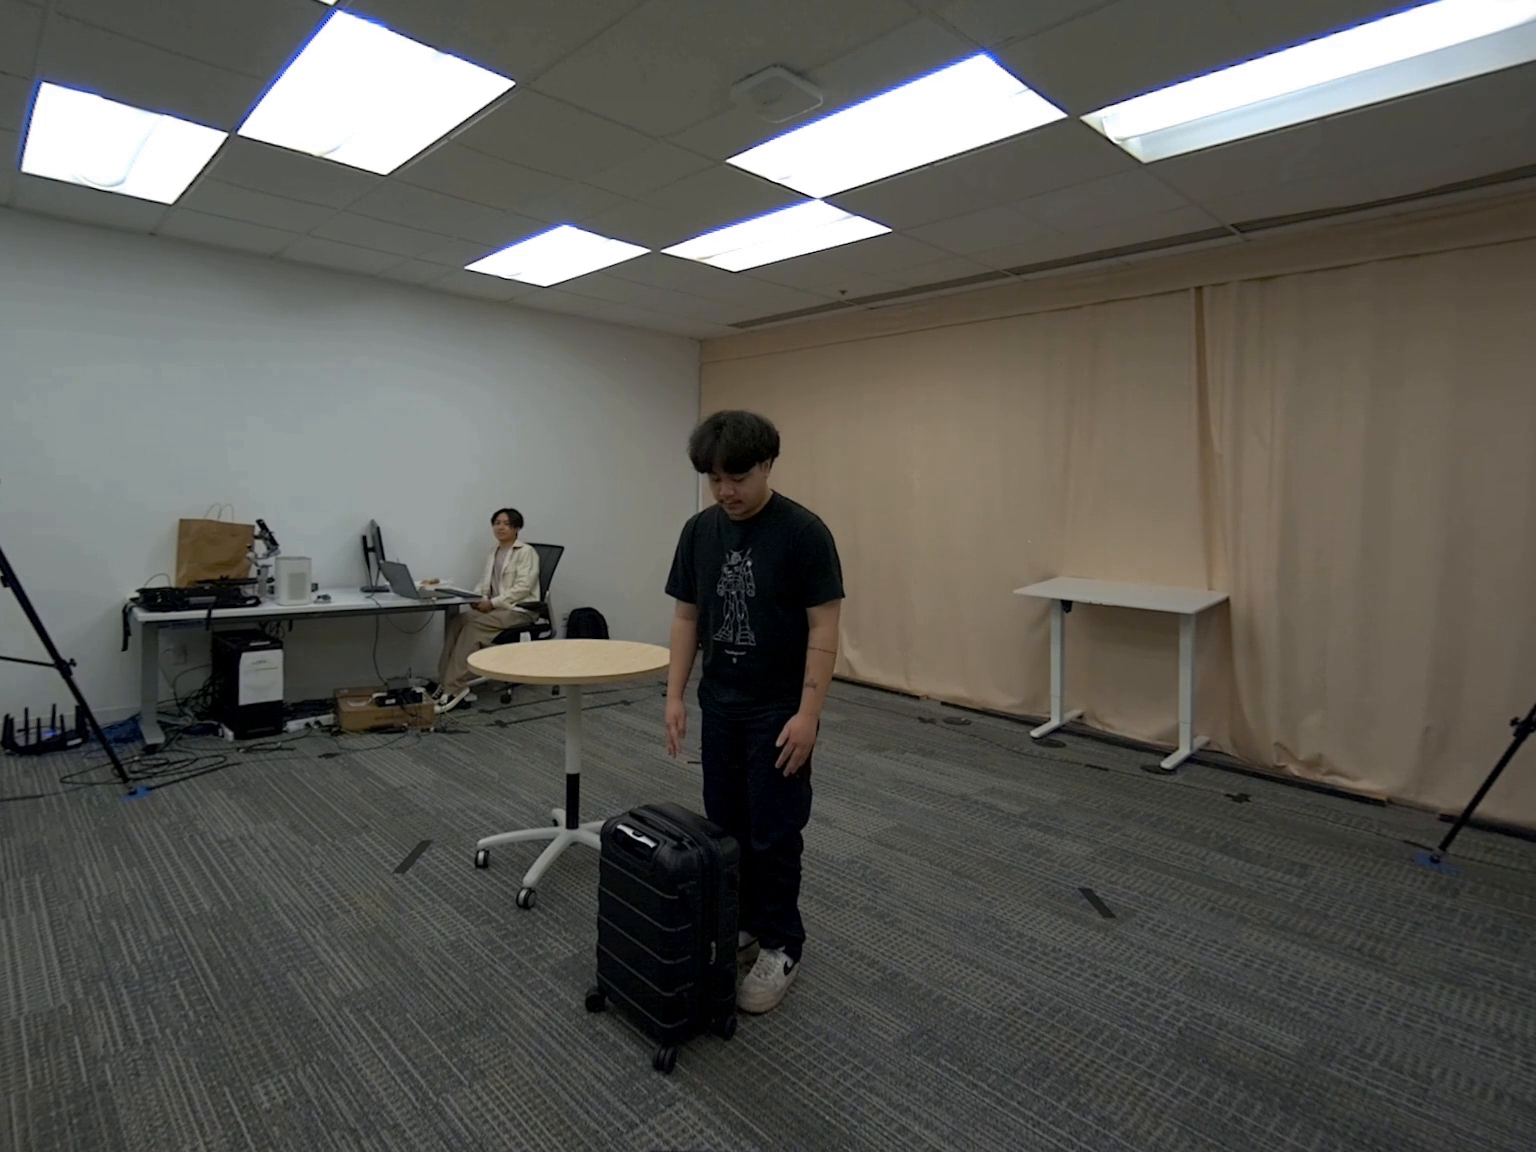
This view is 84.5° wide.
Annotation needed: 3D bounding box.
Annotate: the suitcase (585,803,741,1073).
[{"bbox_3d":[-0.270,0.909,2.226,0.242,0.548,0.385,0,4,-41],"label":"suitcase"}]
